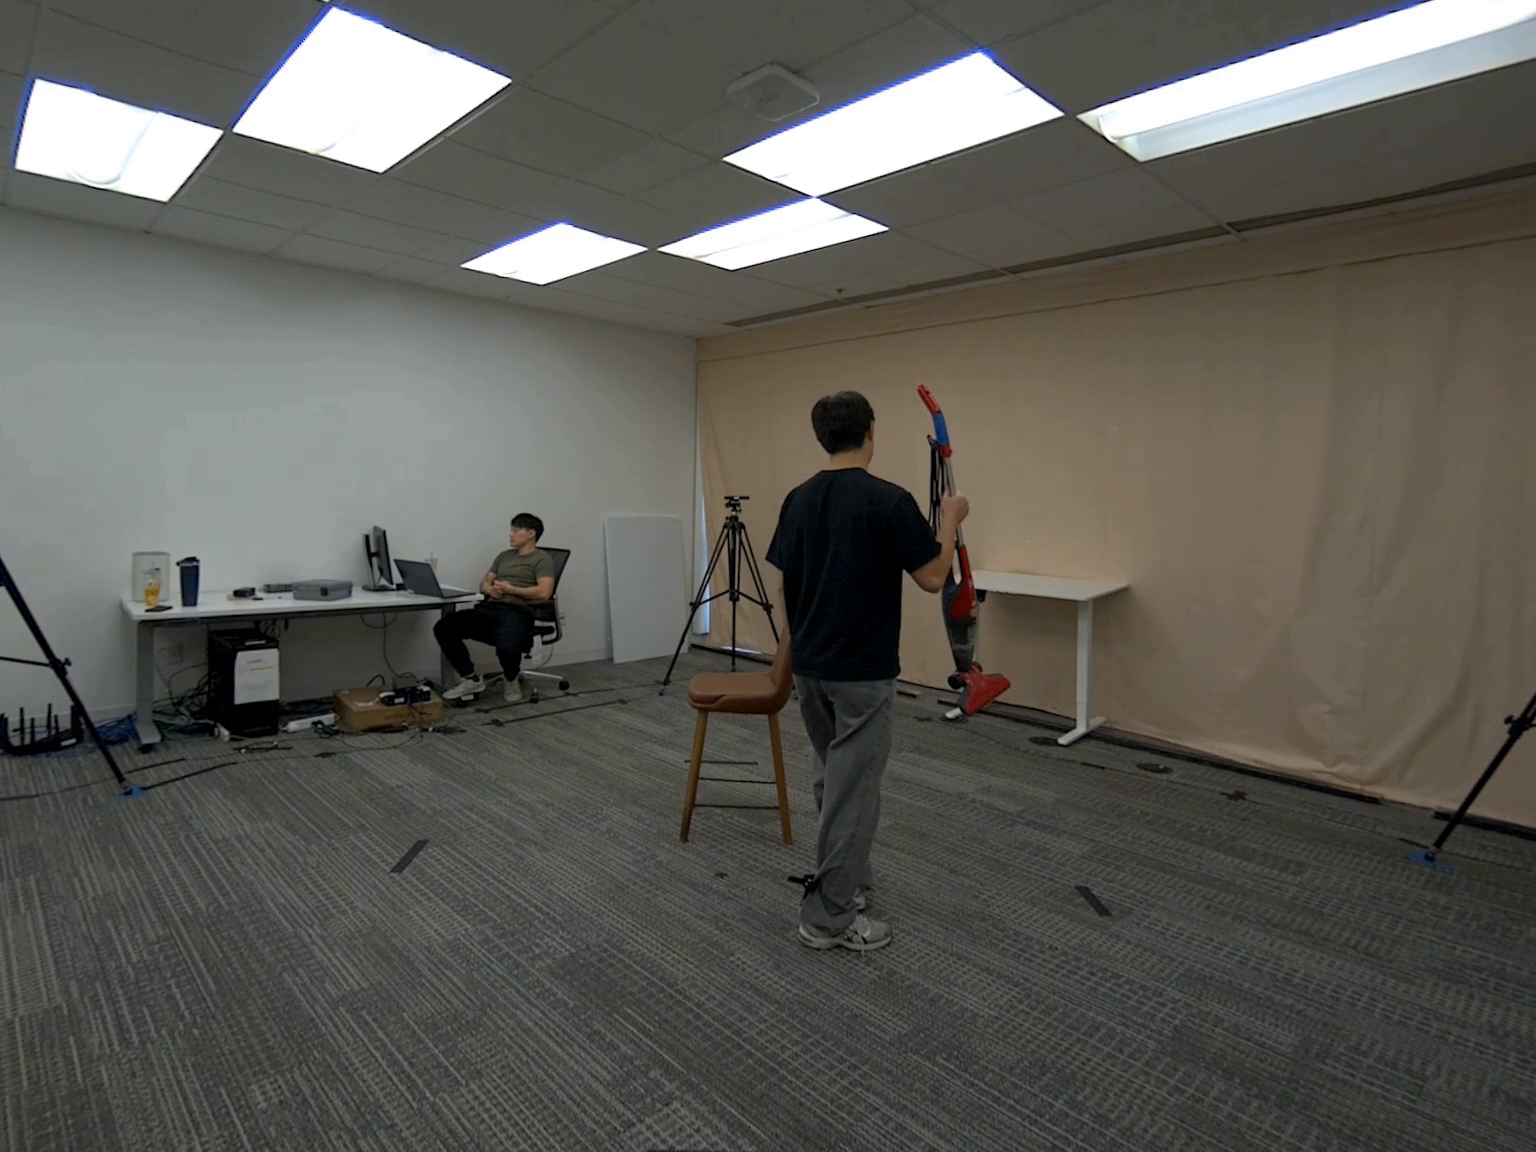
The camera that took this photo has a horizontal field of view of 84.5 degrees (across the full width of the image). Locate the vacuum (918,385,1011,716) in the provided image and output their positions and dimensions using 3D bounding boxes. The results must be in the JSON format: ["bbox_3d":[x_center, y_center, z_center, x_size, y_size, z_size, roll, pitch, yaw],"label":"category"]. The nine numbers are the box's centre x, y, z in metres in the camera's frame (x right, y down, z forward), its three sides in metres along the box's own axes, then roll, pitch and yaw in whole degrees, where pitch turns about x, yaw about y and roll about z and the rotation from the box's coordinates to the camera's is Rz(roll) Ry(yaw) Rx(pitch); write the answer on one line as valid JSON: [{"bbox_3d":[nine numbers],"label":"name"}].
[{"bbox_3d":[0.599,-0.112,2.798,0.250,1.039,0.147,-15,12,-19],"label":"vacuum"}]
